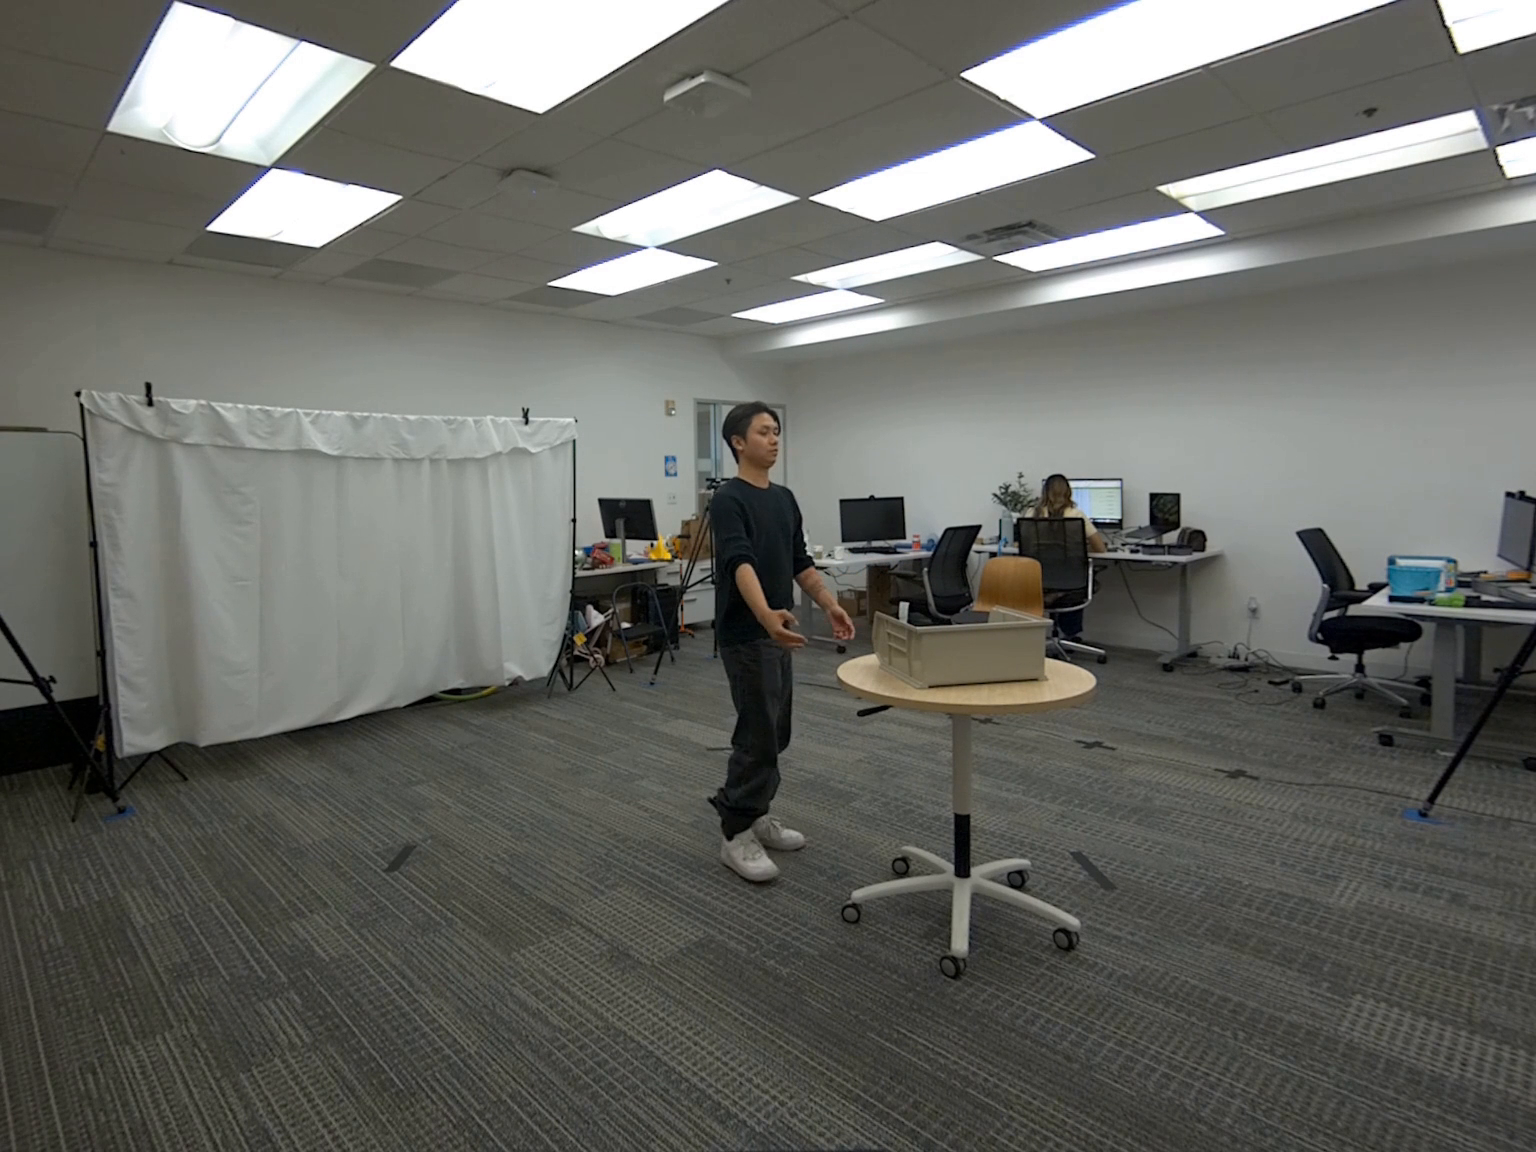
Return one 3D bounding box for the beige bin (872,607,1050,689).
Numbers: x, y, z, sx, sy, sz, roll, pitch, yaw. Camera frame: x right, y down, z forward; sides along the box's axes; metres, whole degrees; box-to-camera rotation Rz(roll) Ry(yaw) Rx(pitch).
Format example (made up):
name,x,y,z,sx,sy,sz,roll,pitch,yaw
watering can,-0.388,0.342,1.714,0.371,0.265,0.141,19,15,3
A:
name,x,y,z,sx,sy,sz,roll,pitch,yaw
beige bin,0.589,0.210,2.650,0.418,0.188,0.383,-2,6,-12
